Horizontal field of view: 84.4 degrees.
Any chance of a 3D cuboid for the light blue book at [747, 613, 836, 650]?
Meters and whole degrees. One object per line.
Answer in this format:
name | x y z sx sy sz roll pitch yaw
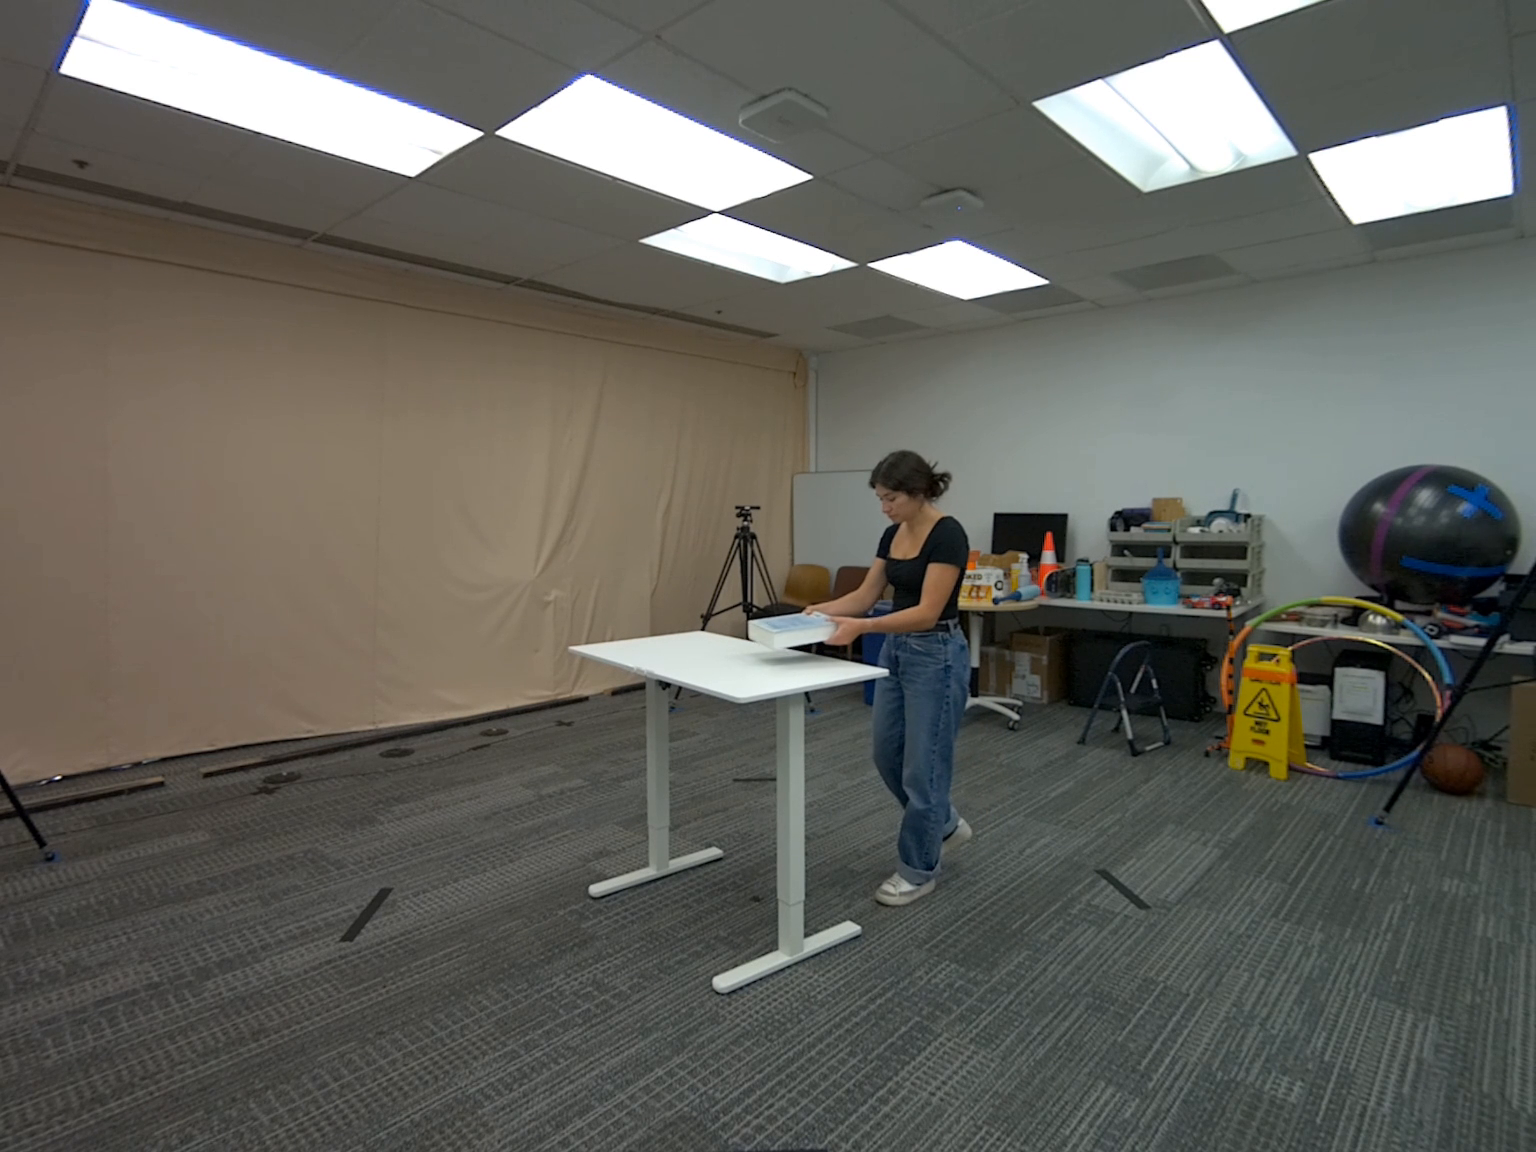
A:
light blue book | 0.086 0.185 2.775 0.257 0.058 0.196 -6 11 -17
